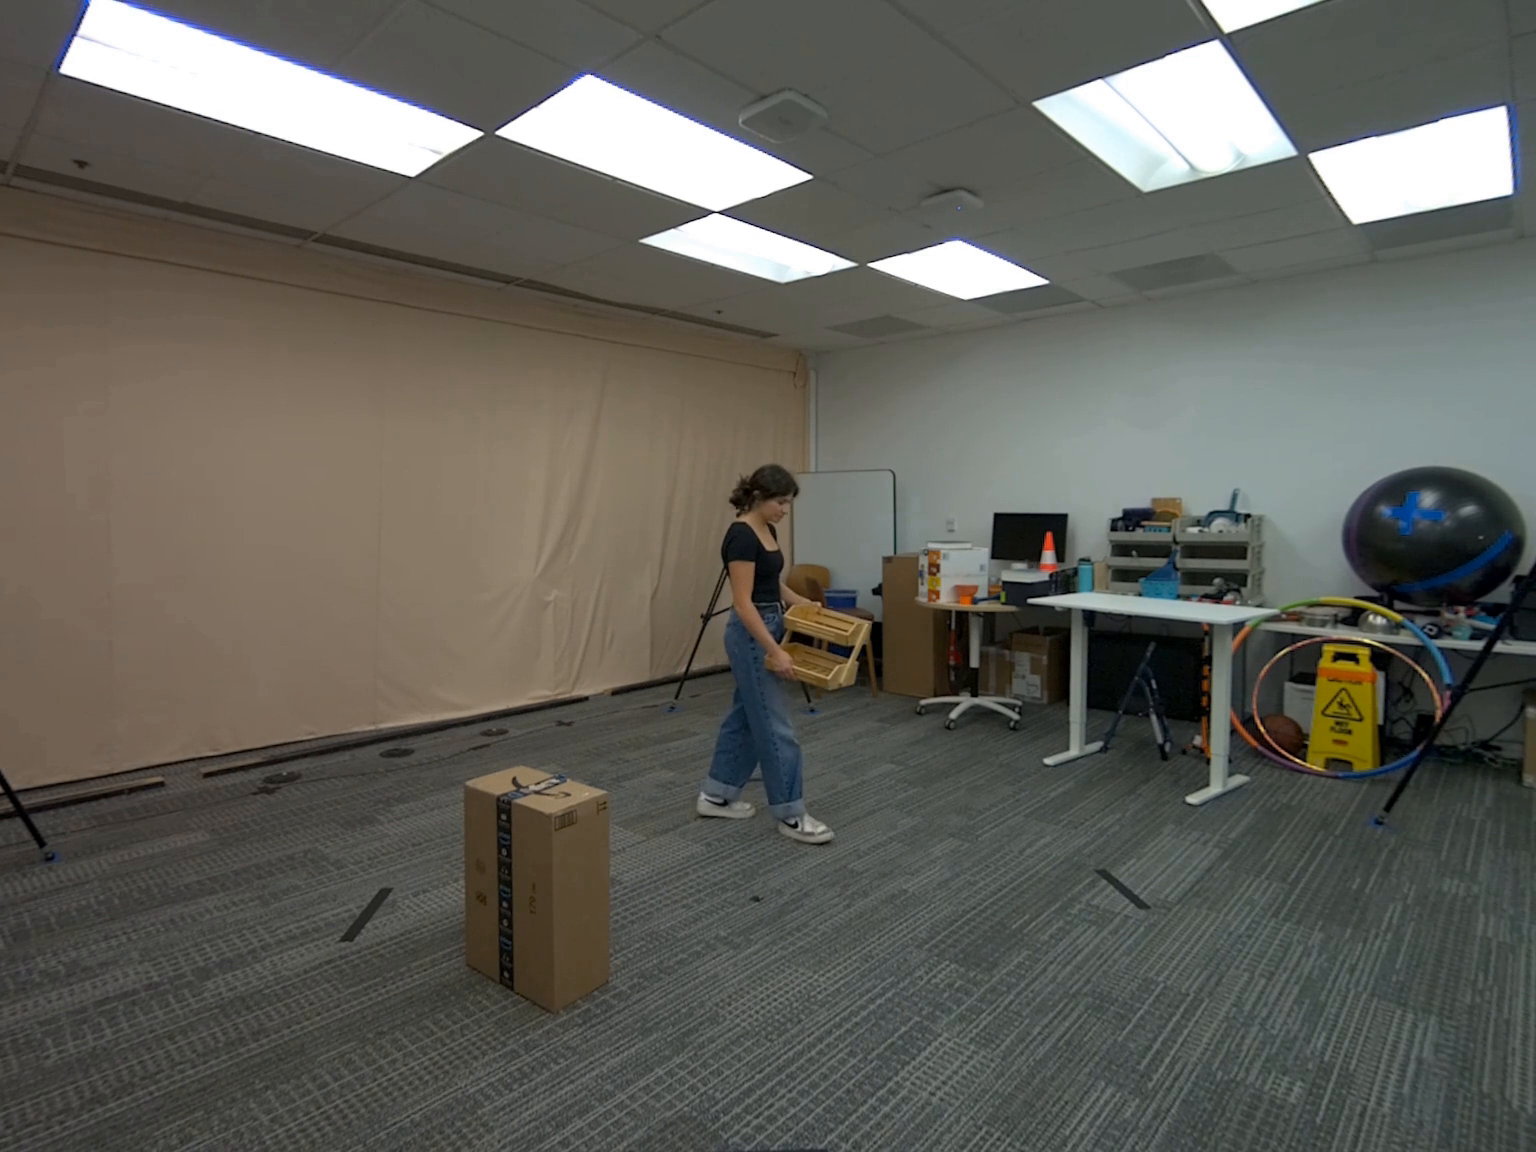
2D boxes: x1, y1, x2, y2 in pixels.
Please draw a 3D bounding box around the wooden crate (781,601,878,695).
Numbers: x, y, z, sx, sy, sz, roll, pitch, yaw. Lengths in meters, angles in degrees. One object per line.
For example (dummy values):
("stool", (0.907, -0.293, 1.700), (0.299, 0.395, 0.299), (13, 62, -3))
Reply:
("wooden crate", (0.210, 0.279, 3.437), (0.335, 0.272, 0.293), (14, 7, 30))
